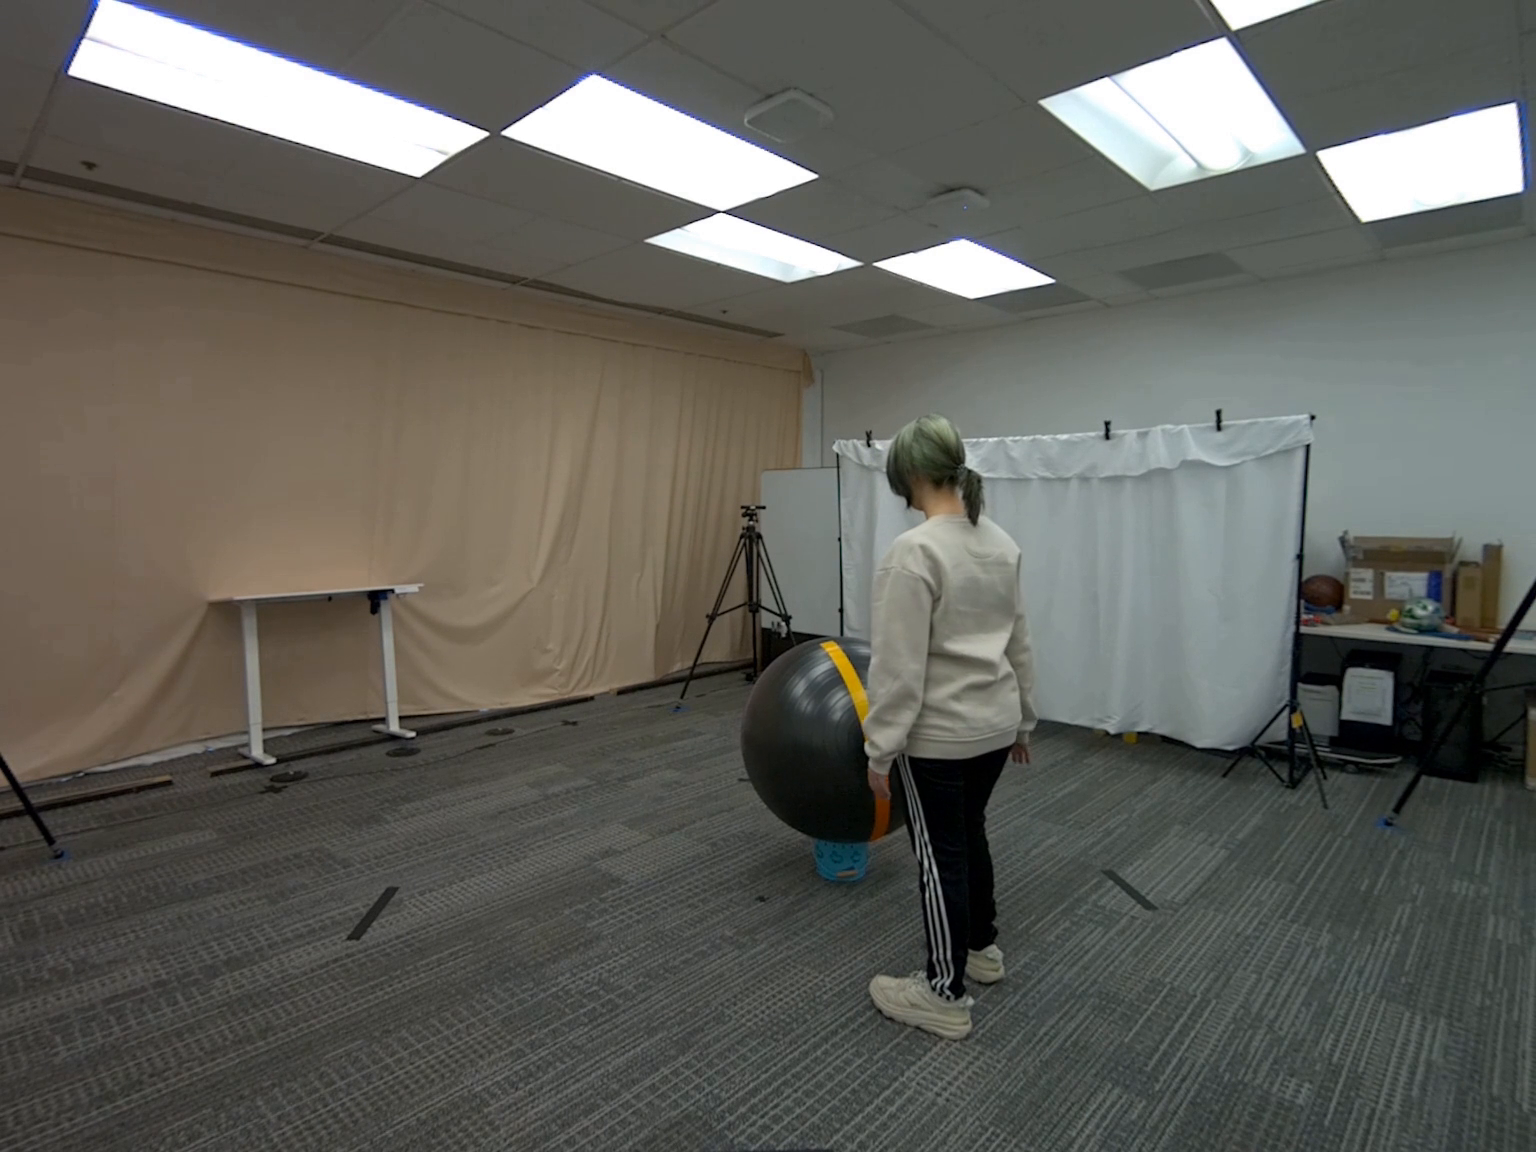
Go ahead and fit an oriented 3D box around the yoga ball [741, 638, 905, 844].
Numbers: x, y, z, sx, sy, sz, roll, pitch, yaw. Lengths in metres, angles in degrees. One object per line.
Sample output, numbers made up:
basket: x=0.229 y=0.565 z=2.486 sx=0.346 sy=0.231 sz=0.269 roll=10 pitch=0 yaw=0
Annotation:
yoga ball: x=0.278 y=0.612 z=3.186 sx=0.757 sy=0.756 sz=0.760 roll=0 pitch=4 yaw=-2
